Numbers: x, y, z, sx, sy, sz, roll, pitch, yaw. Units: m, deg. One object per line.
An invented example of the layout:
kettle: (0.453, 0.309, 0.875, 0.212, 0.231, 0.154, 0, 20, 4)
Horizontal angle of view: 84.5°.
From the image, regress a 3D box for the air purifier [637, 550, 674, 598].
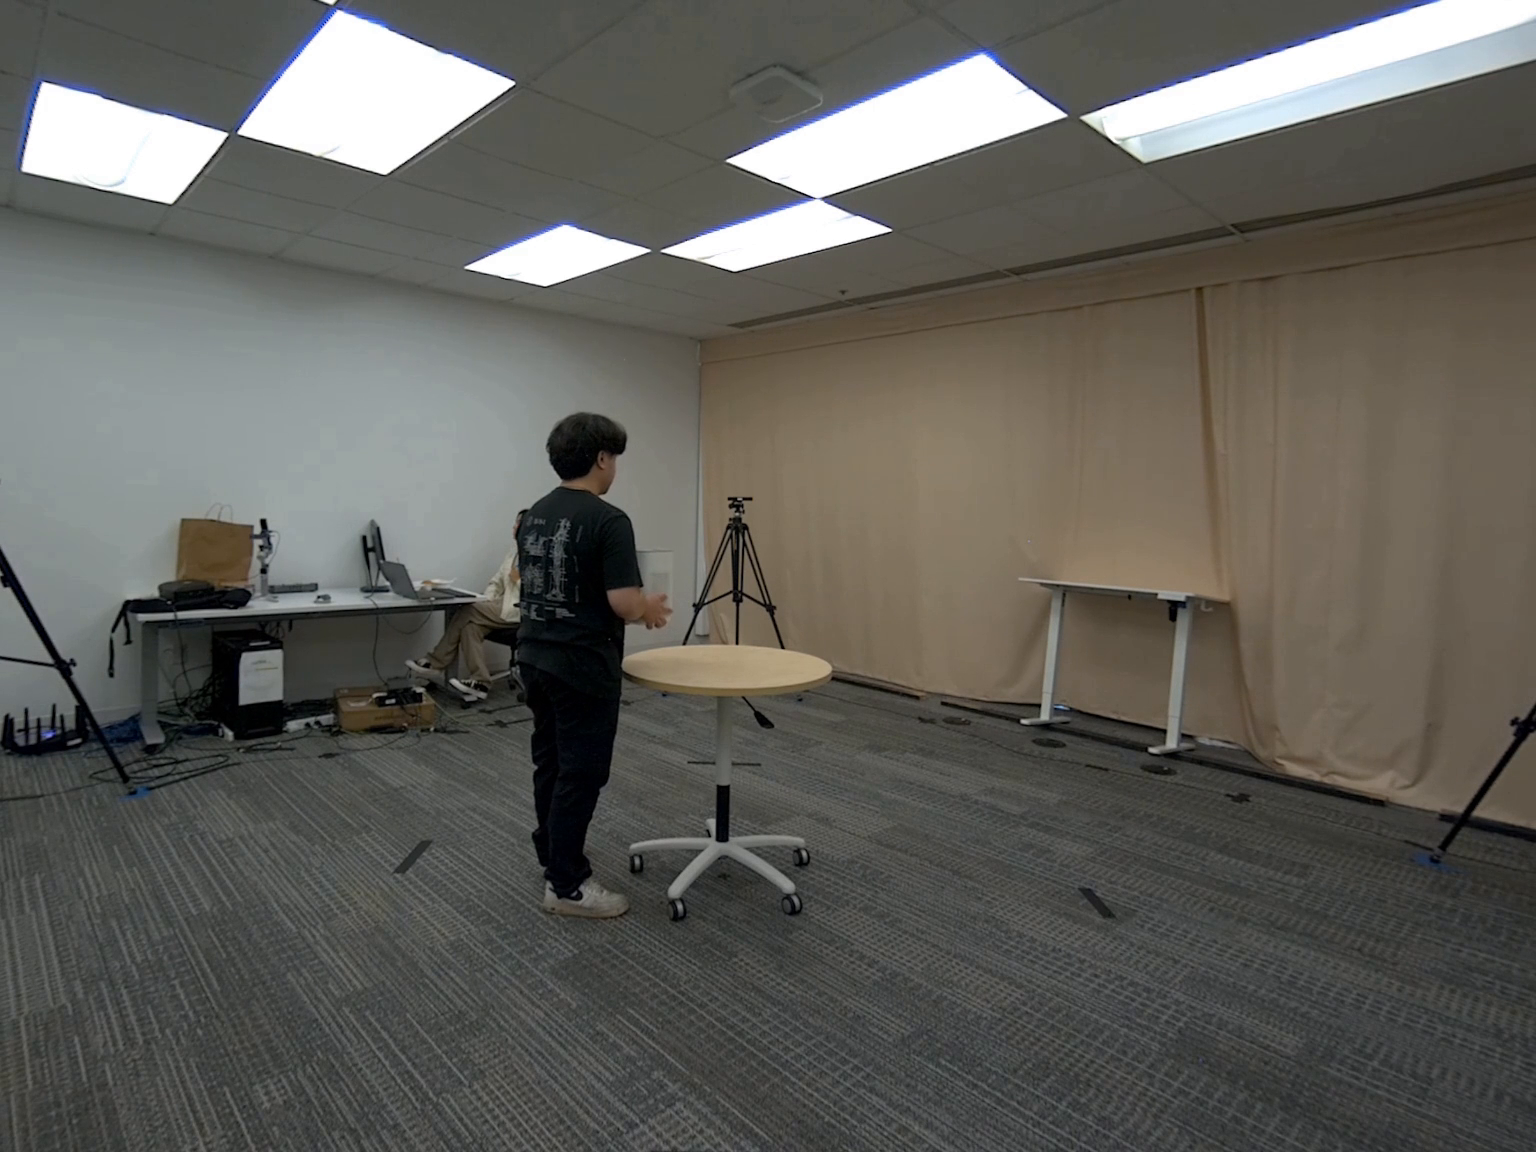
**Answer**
air purifier: (-0.458, 0.035, 3.027, 0.175, 0.265, 0.168, 4, 3, 35)
